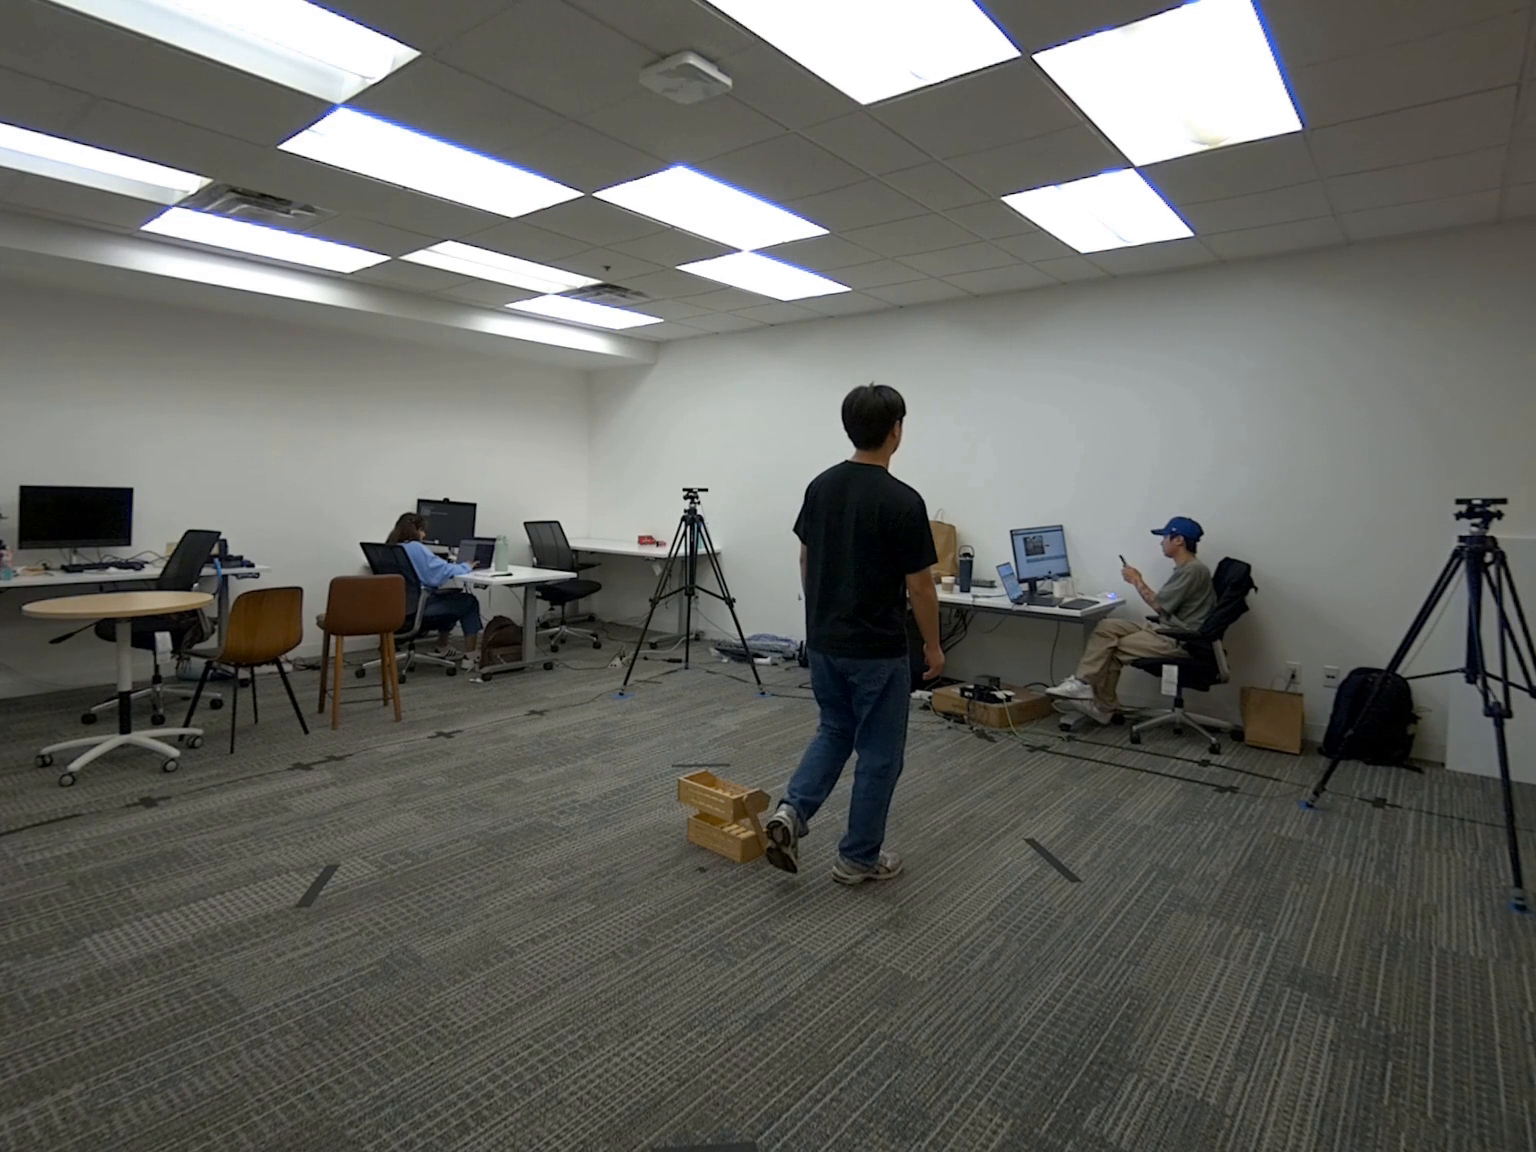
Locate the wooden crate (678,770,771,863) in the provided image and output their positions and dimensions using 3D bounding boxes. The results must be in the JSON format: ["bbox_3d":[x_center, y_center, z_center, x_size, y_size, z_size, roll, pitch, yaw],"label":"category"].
[{"bbox_3d":[-0.151,0.917,3.332,0.336,0.272,0.293,6,7,42],"label":"wooden crate"}]
